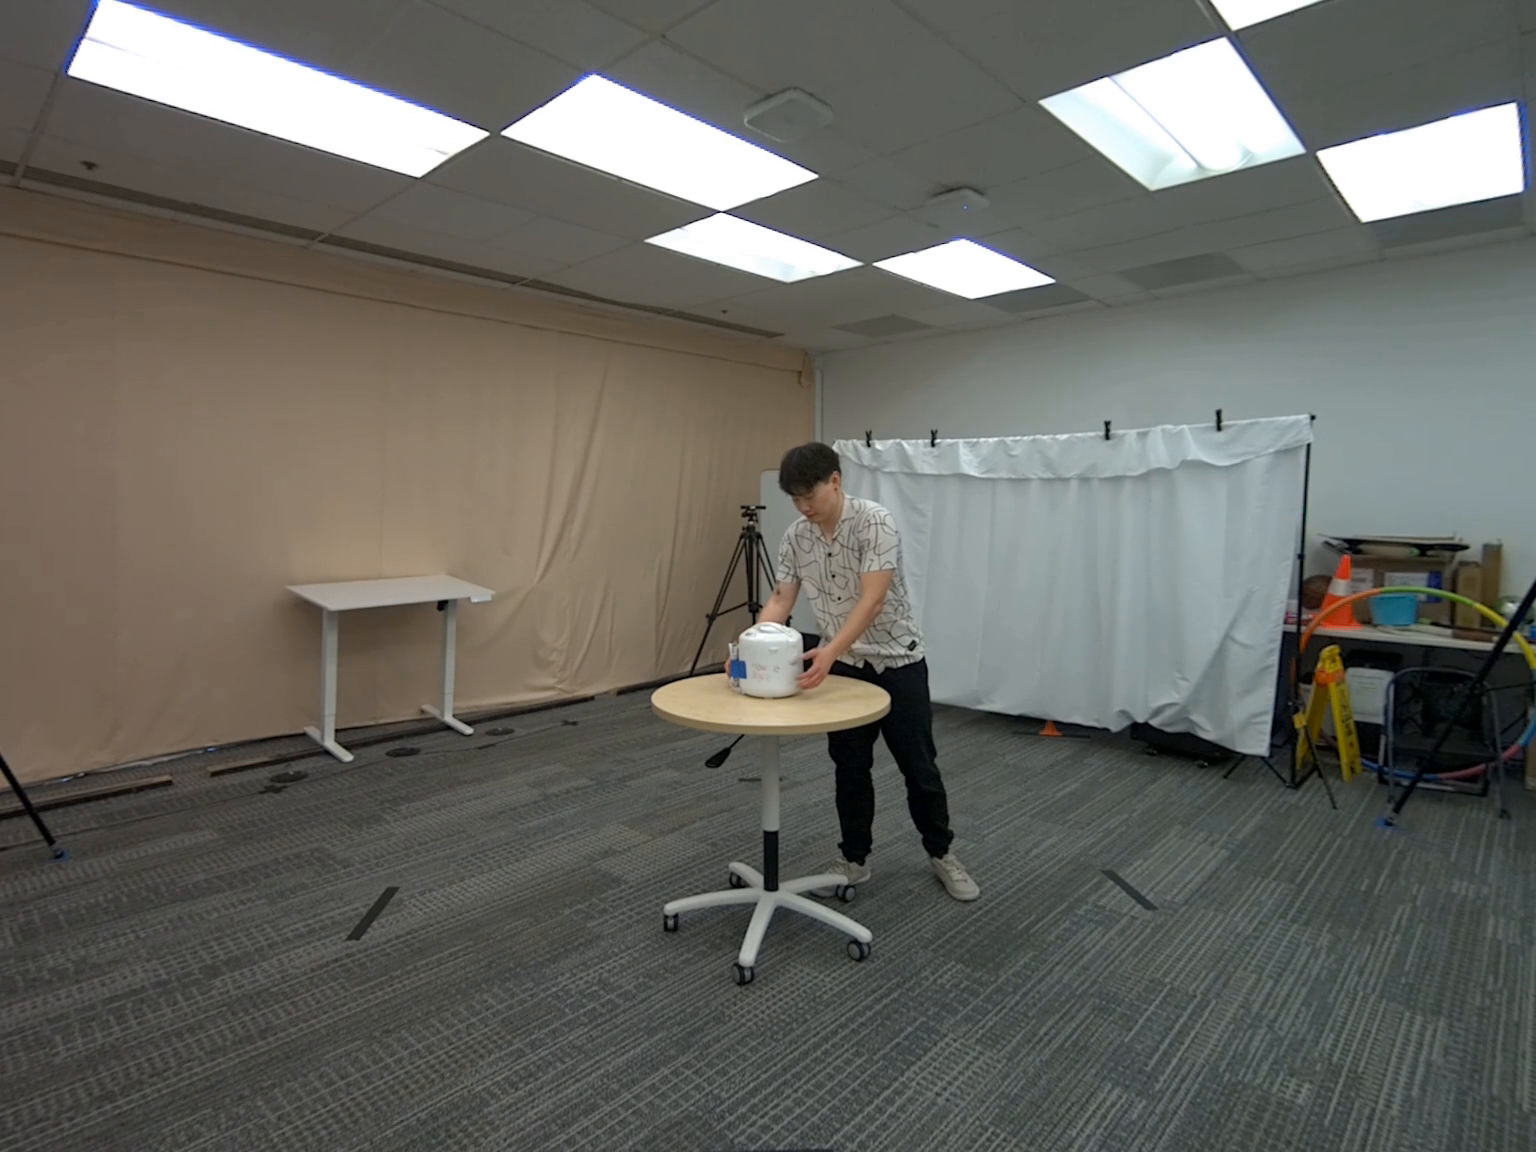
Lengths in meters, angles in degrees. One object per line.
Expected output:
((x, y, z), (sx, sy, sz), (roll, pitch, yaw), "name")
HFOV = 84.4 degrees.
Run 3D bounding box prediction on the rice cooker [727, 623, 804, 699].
((0.013, 0.268, 2.738), (0.211, 0.232, 0.228), (-5, 7, -43), "rice cooker")
